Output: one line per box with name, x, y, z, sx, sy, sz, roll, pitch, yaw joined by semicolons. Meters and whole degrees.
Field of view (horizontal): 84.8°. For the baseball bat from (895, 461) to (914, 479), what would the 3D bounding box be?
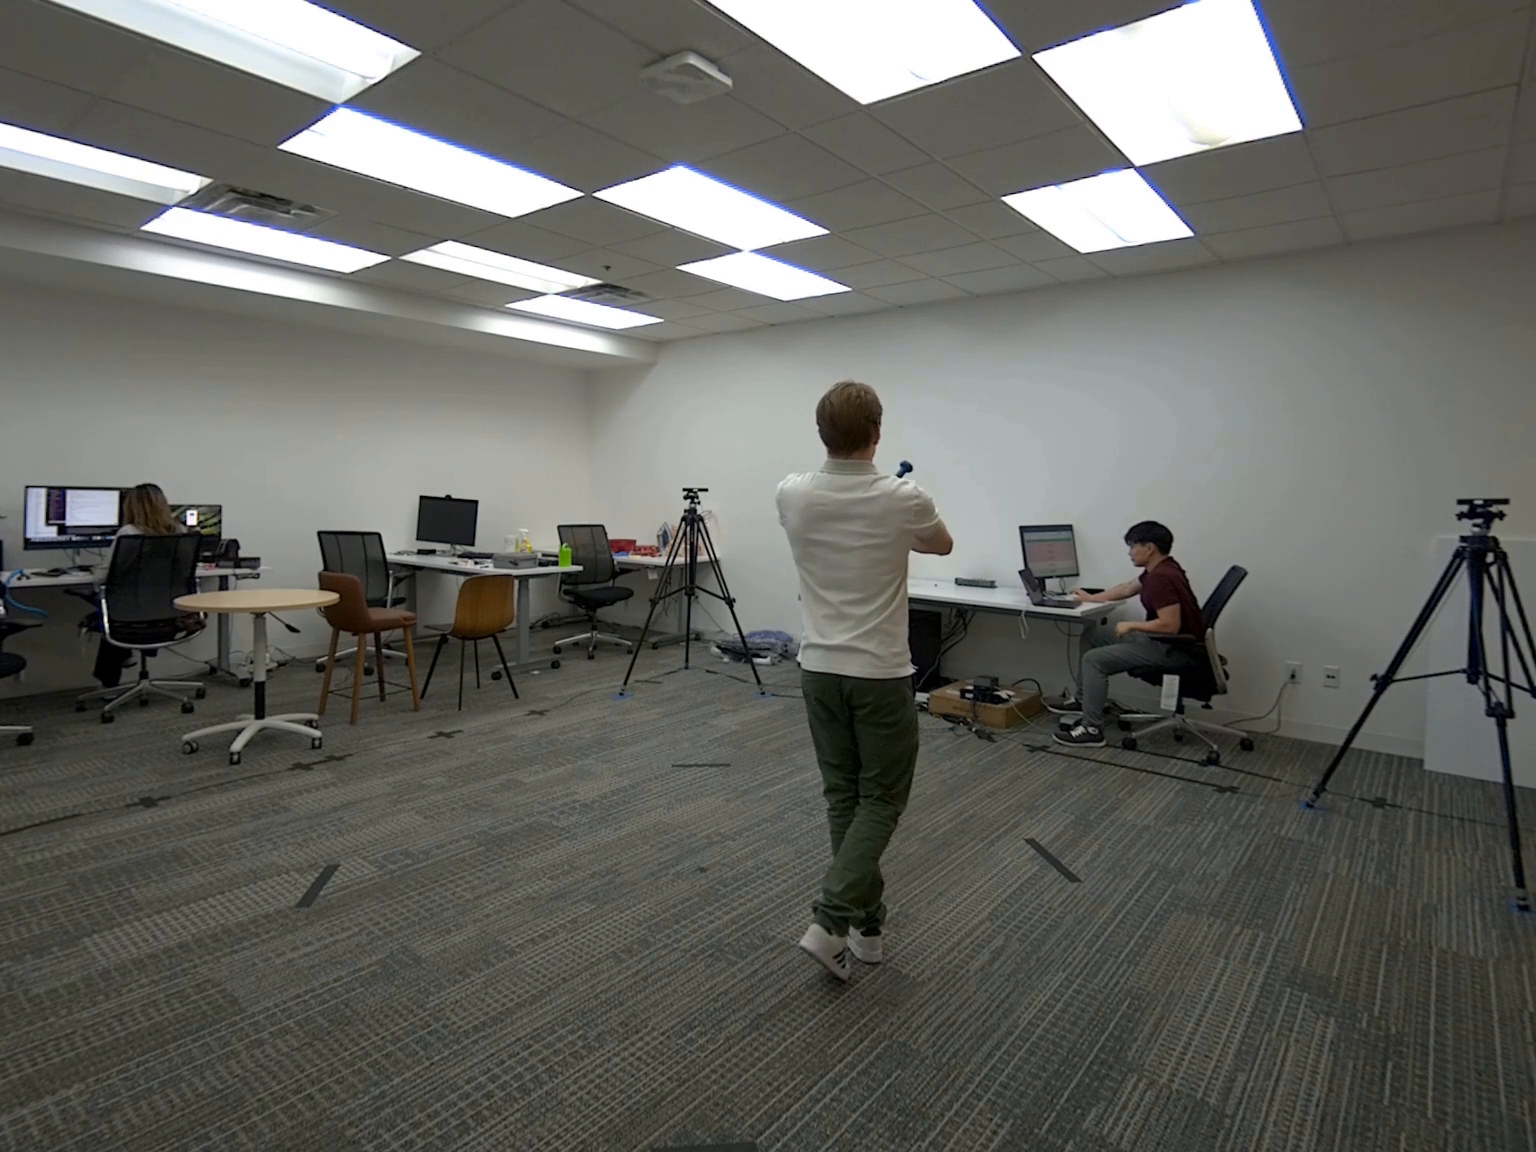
baseball bat;0.325;-0.188;2.950;0.090;0.543;0.088;38;-11;7
